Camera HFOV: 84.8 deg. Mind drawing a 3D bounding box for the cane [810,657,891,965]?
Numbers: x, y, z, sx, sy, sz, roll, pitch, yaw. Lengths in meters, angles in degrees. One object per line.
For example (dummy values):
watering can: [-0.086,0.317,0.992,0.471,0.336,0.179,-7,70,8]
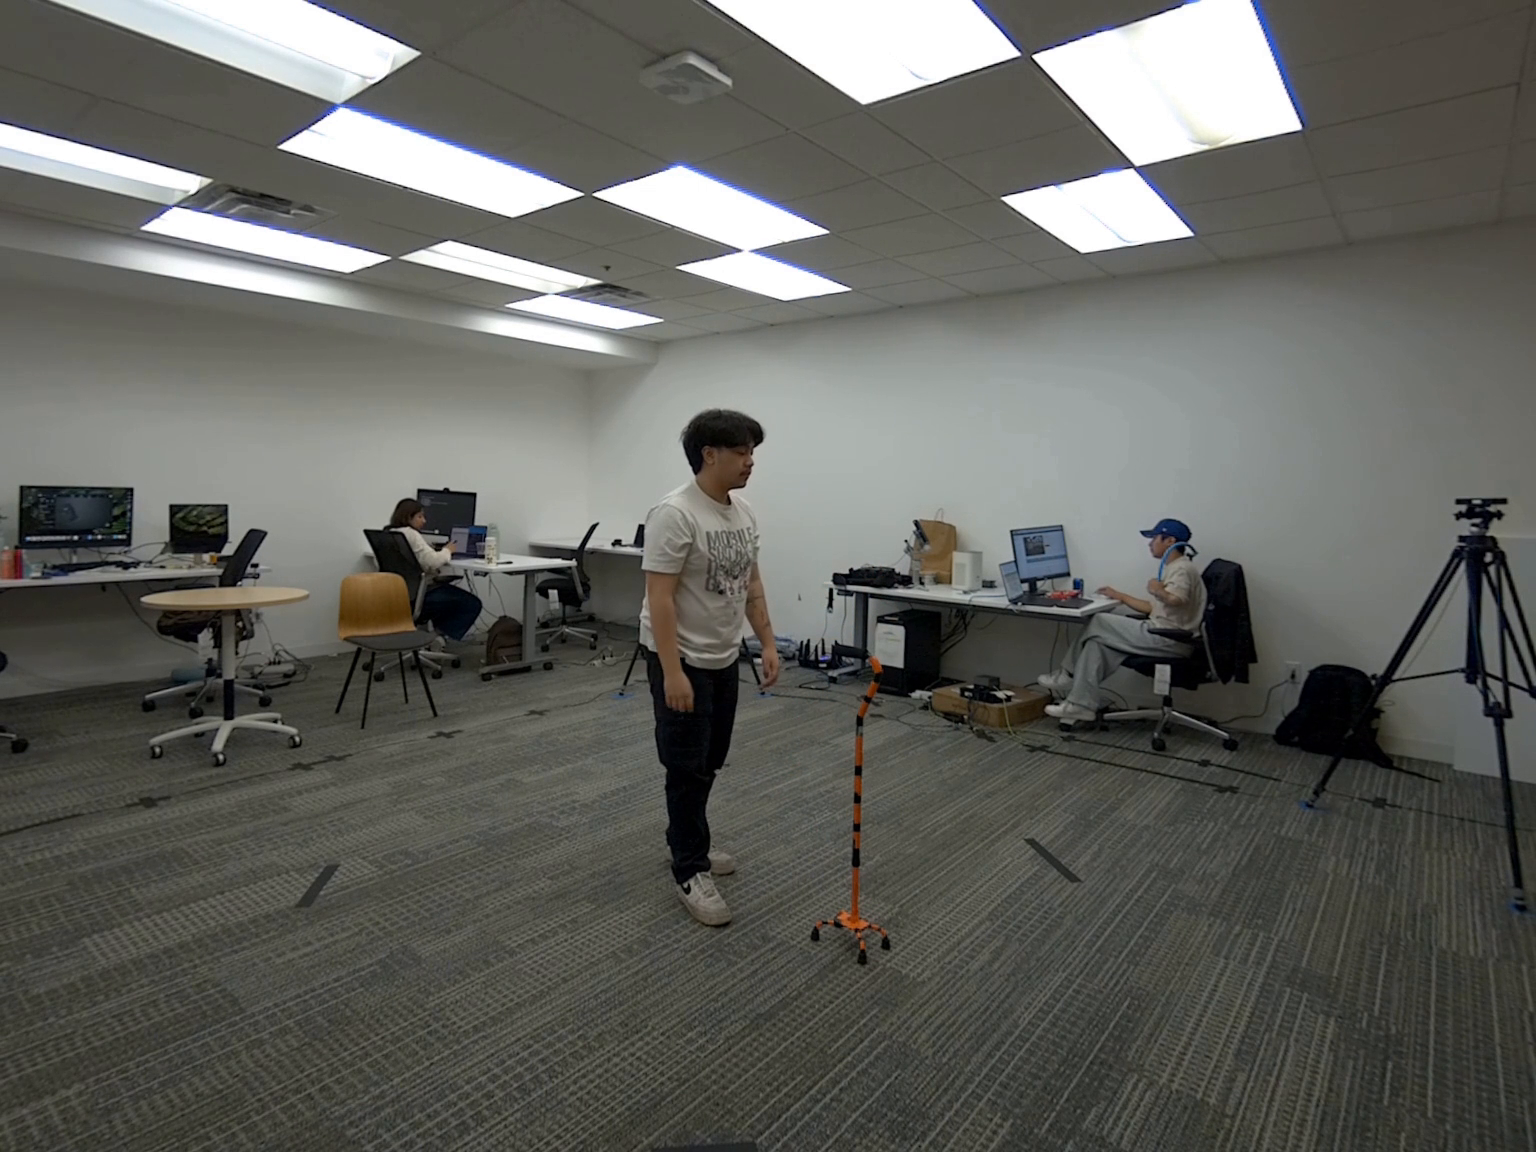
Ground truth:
cane: [0.261,0.676,2.601,0.213,0.906,0.147,4,3,41]
